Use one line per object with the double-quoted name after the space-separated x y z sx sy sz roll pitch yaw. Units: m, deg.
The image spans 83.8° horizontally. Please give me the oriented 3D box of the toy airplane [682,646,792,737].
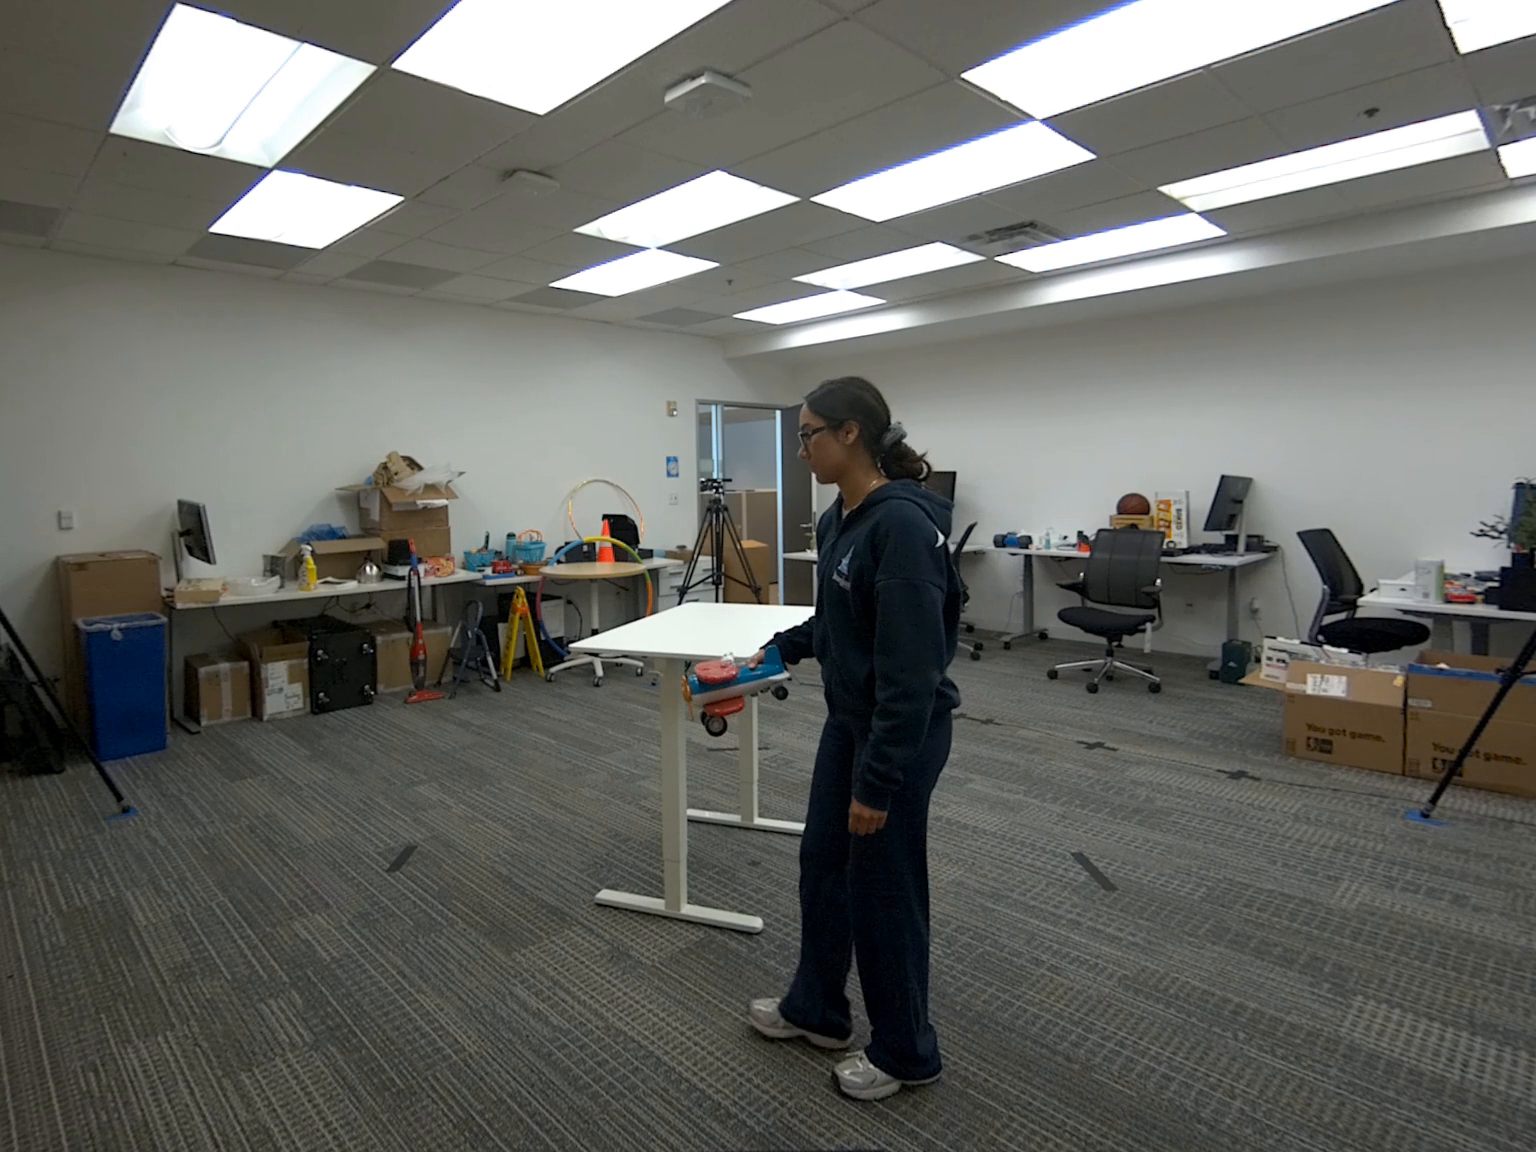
-0.079 0.273 2.098 0.256 0.156 0.255 -28 5 -36 "toy airplane"
